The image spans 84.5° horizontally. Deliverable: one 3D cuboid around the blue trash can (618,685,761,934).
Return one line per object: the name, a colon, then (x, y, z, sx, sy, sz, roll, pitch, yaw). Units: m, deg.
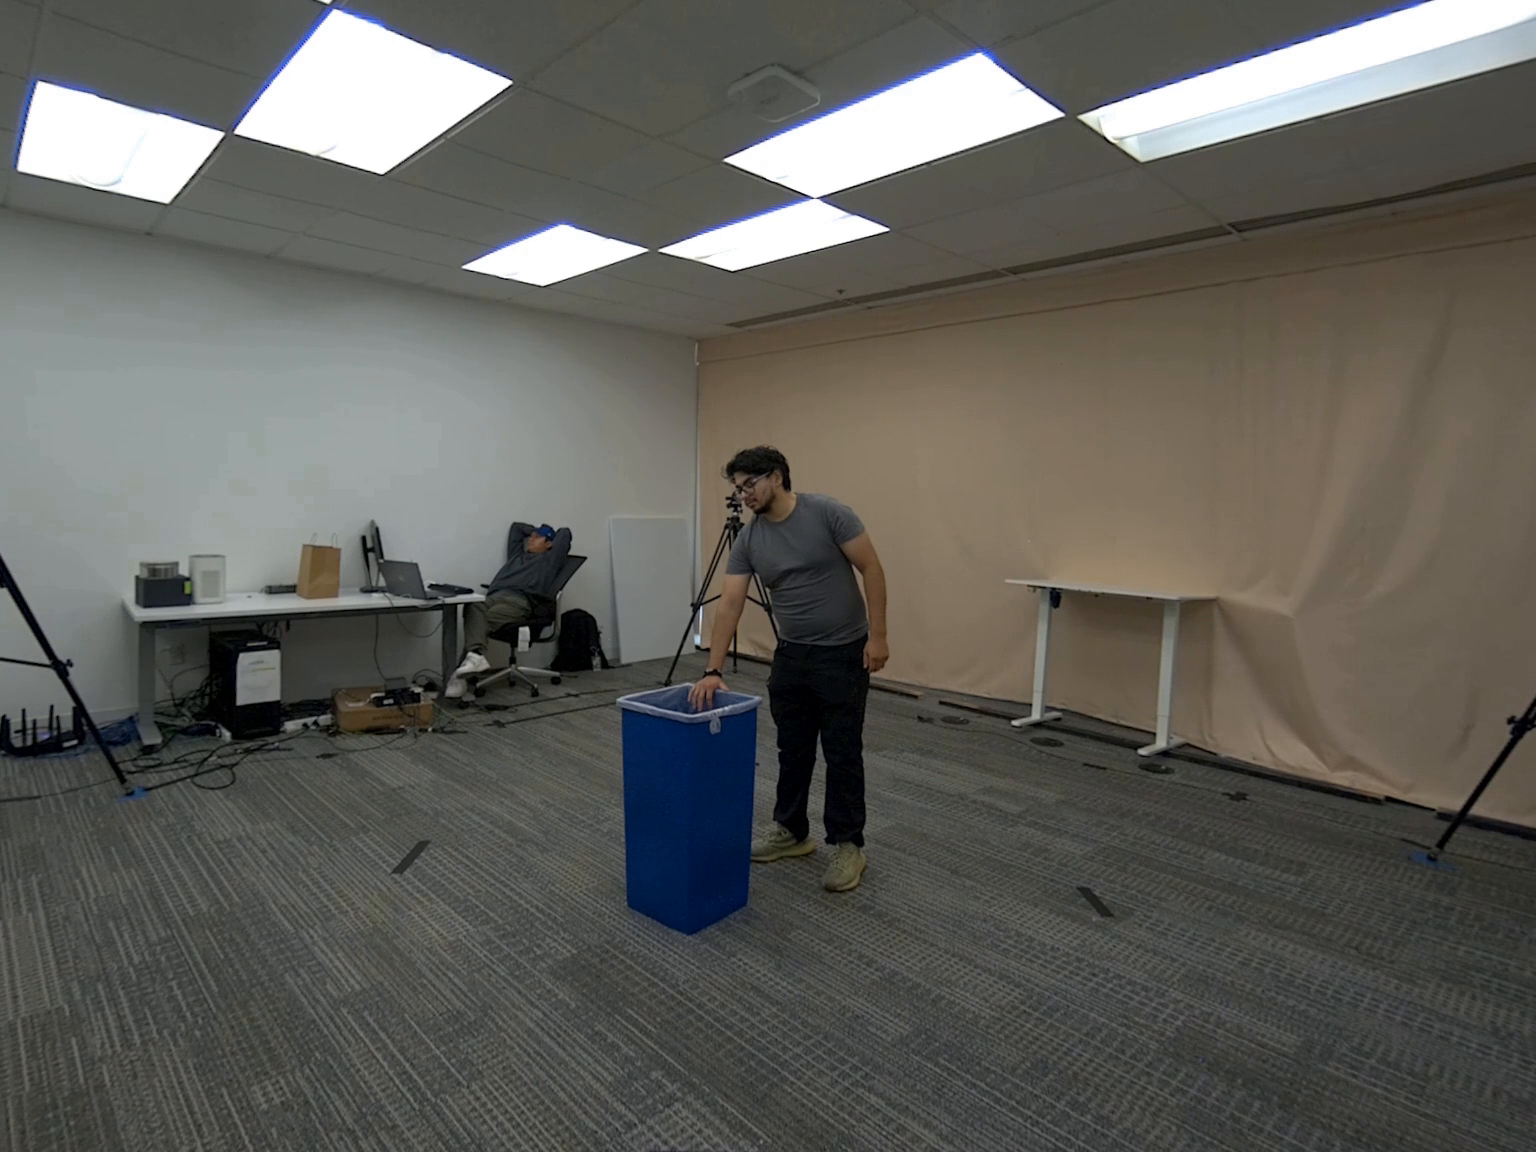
blue trash can: (-0.283, 0.767, 2.861, 0.383, 0.712, 0.369, 4, 4, 40)
